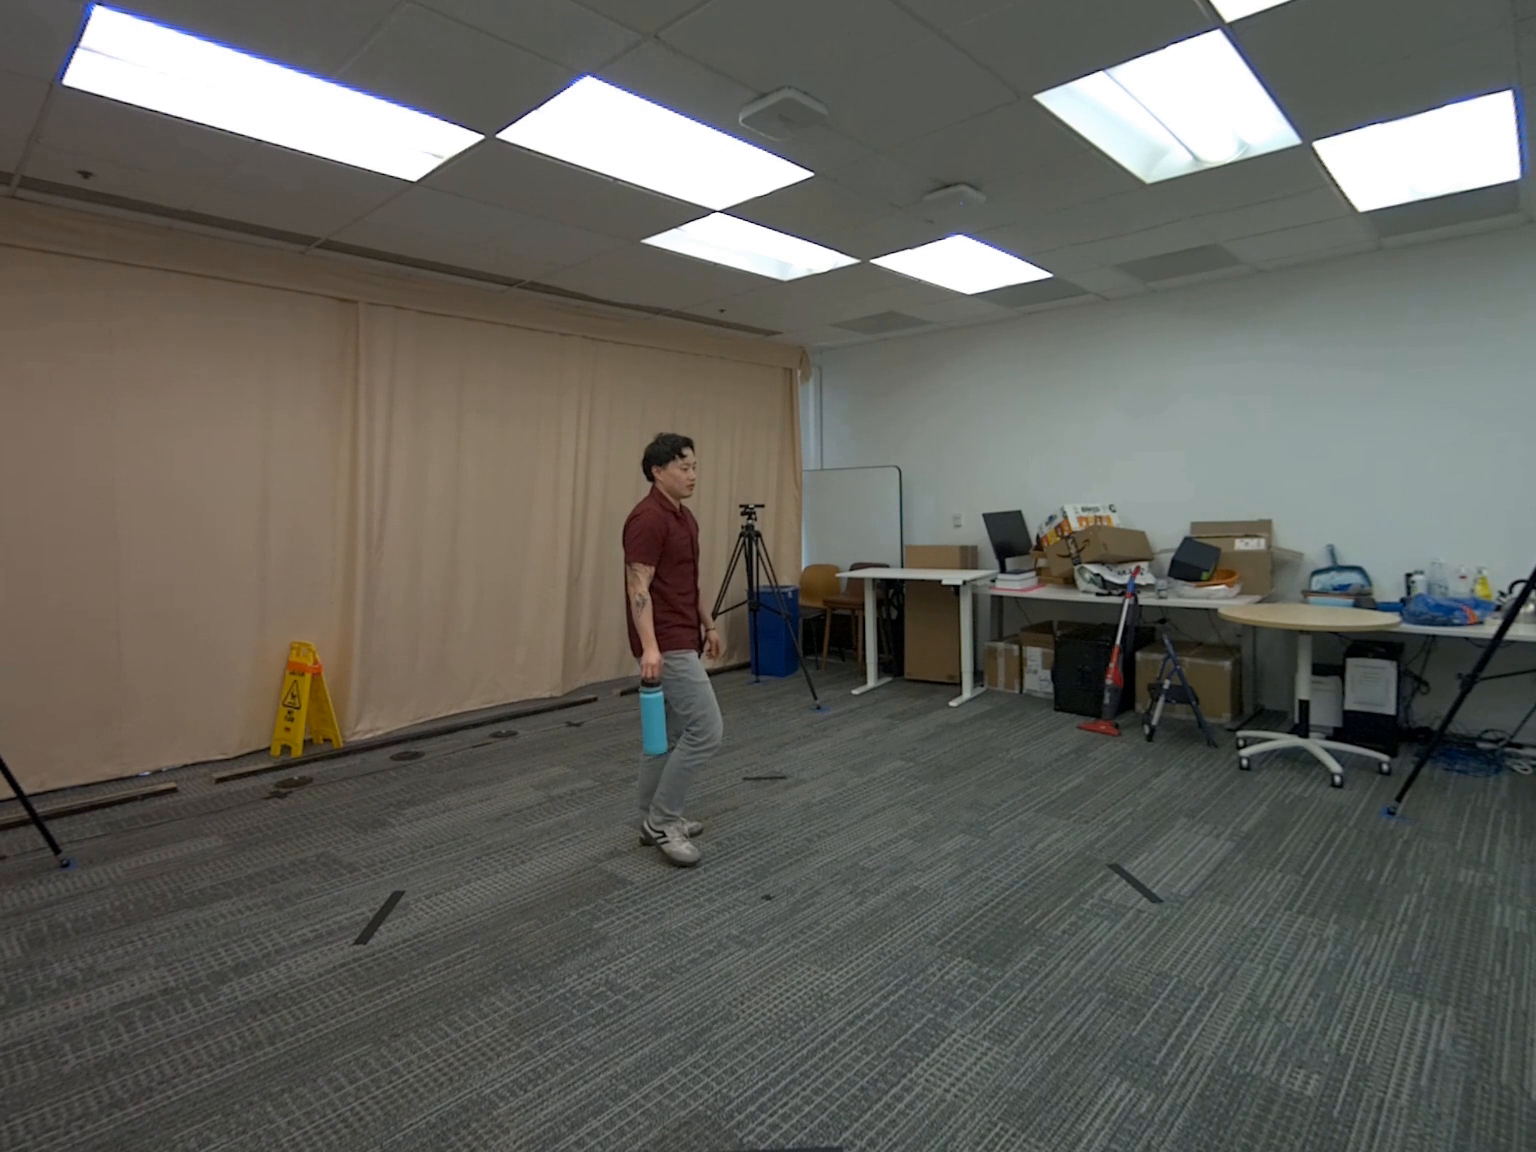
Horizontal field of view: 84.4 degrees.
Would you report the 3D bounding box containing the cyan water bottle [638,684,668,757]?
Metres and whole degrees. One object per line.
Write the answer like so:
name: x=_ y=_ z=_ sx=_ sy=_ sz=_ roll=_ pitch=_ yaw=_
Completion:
cyan water bottle: x=-0.423 y=0.512 z=3.127 sx=0.092 sy=0.282 sz=0.093 roll=-2 pitch=6 yaw=-2
